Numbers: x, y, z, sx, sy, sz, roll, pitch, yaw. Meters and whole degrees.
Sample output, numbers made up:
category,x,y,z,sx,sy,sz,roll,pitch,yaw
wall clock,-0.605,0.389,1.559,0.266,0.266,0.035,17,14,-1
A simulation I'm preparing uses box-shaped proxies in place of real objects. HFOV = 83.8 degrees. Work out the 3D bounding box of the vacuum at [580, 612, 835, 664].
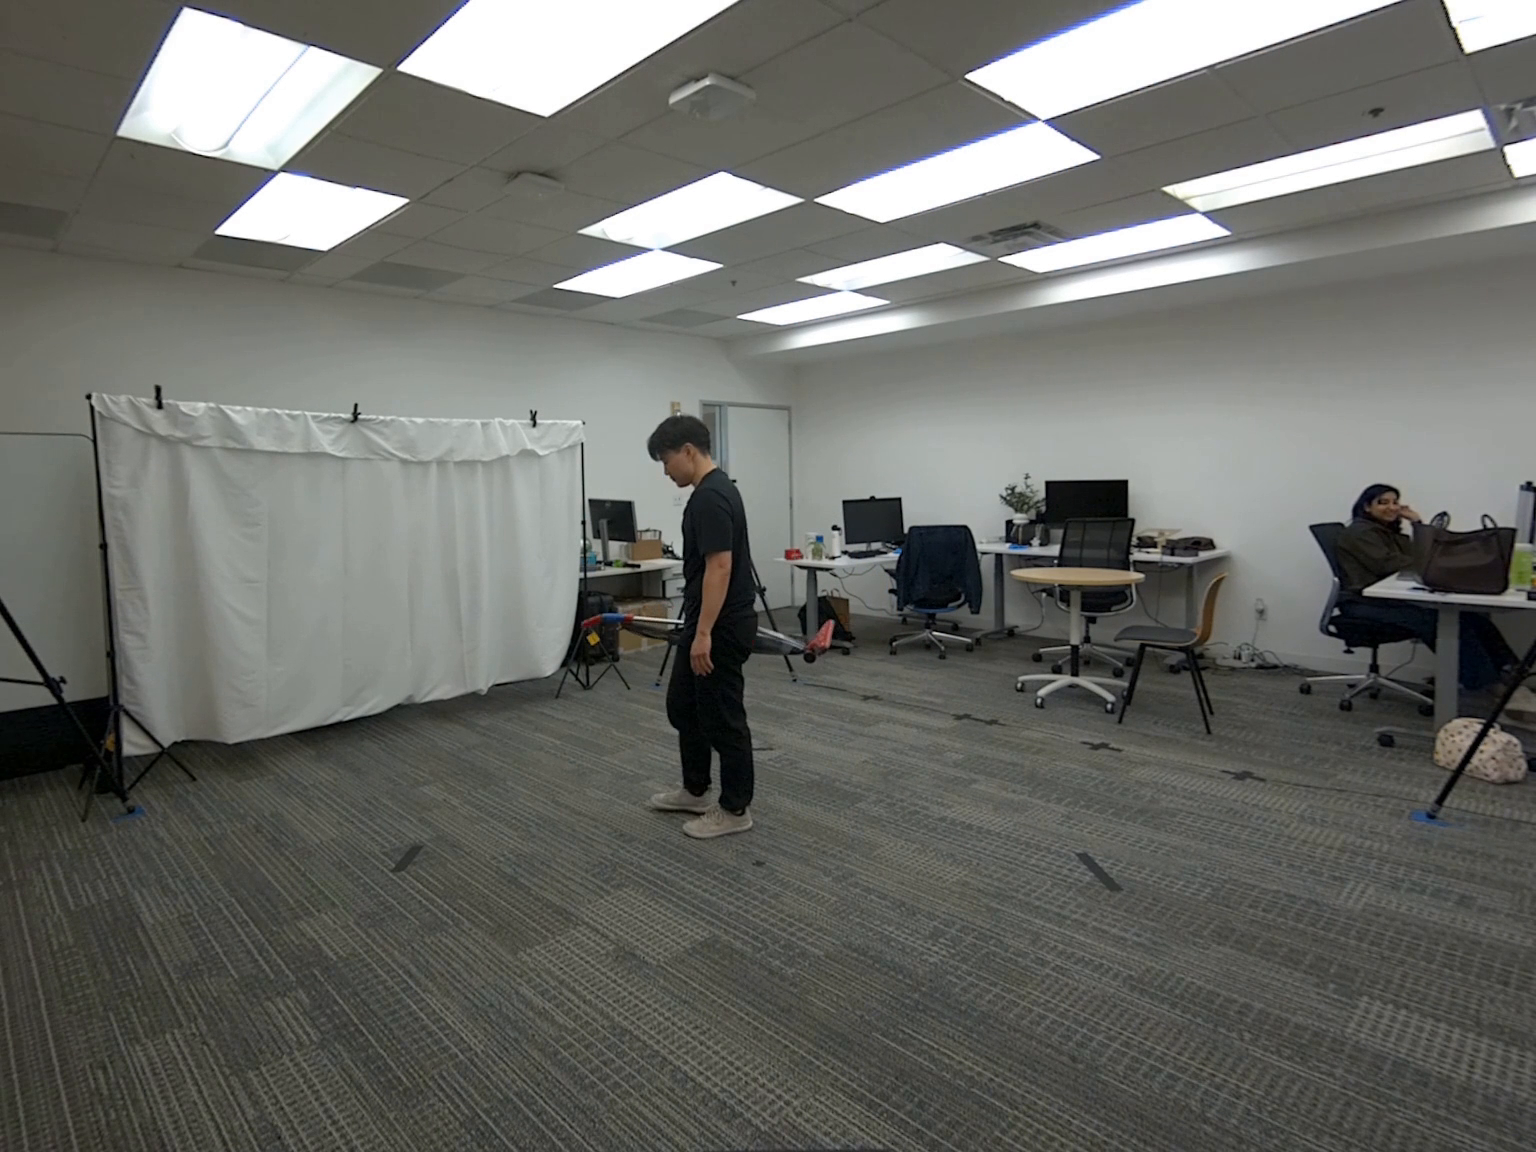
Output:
category,x,y,z,sx,sy,sz,roll,pitch,yaw
vacuum,-0.290,0.255,3.700,1.064,0.141,0.253,5,21,13
